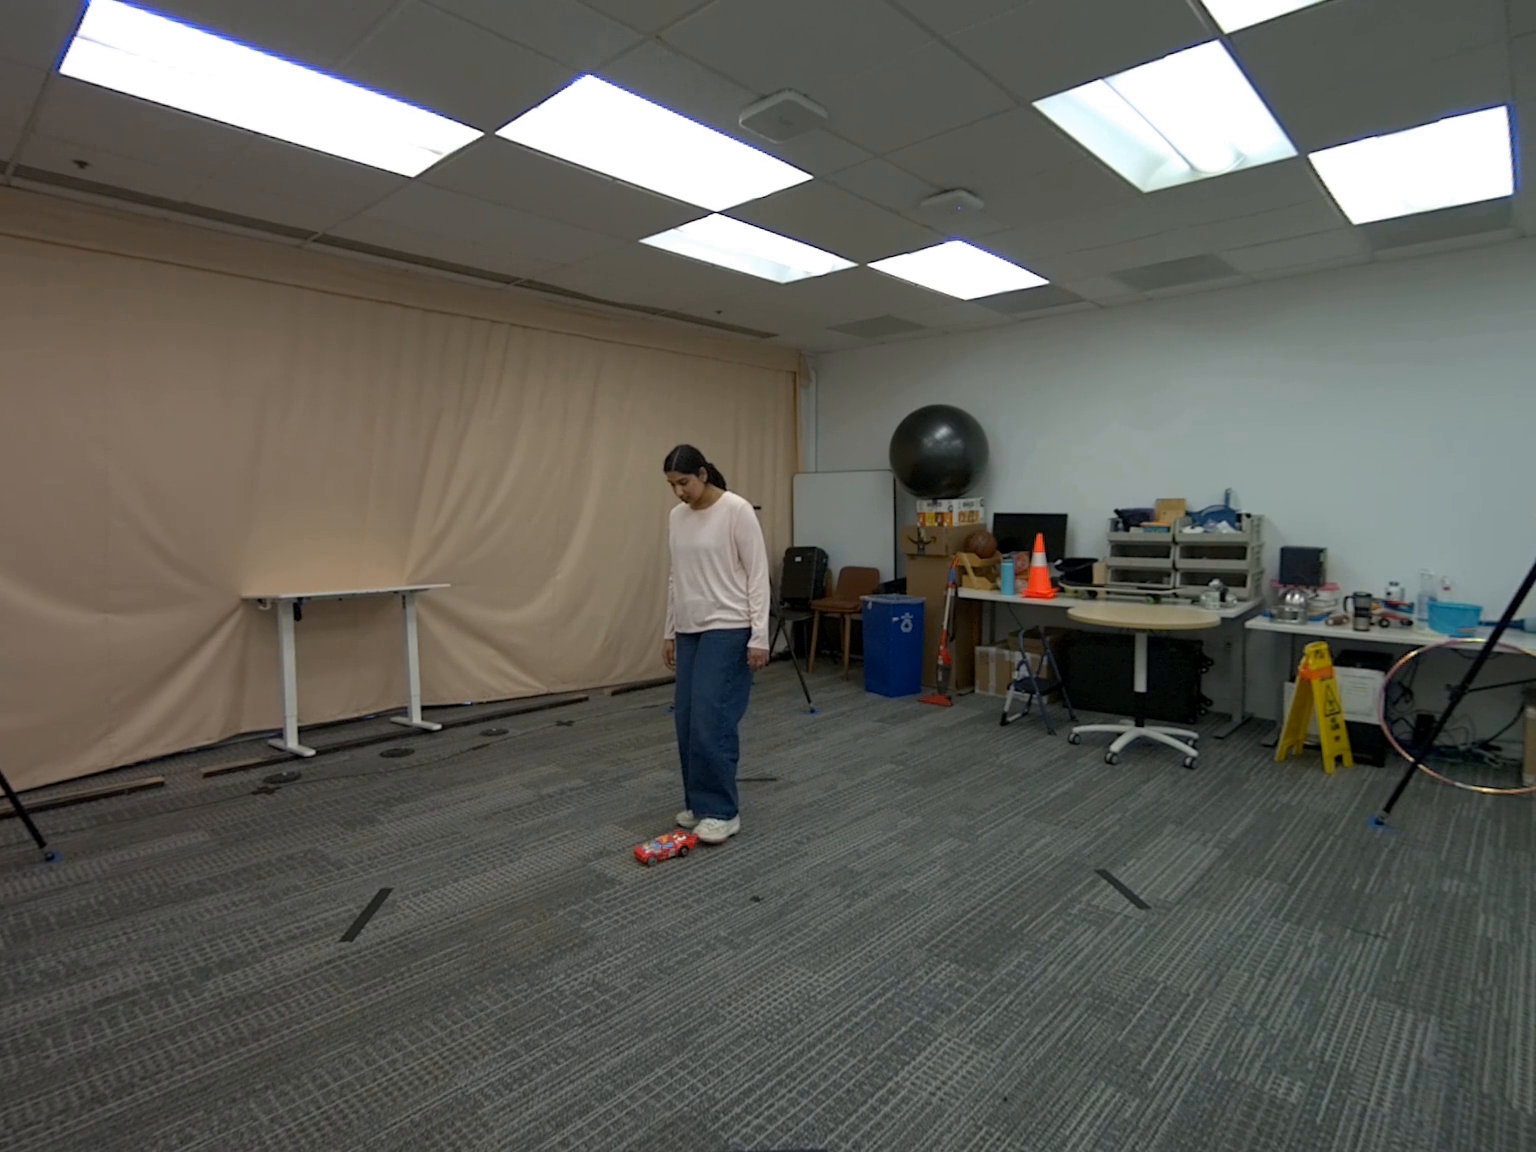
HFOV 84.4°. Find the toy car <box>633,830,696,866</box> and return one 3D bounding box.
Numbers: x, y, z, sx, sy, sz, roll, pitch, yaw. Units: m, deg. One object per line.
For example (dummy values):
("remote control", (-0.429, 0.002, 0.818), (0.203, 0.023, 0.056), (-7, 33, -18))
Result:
("toy car", (-0.415, 1.087, 3.351), (0.248, 0.082, 0.134), (-17, 12, -33))
